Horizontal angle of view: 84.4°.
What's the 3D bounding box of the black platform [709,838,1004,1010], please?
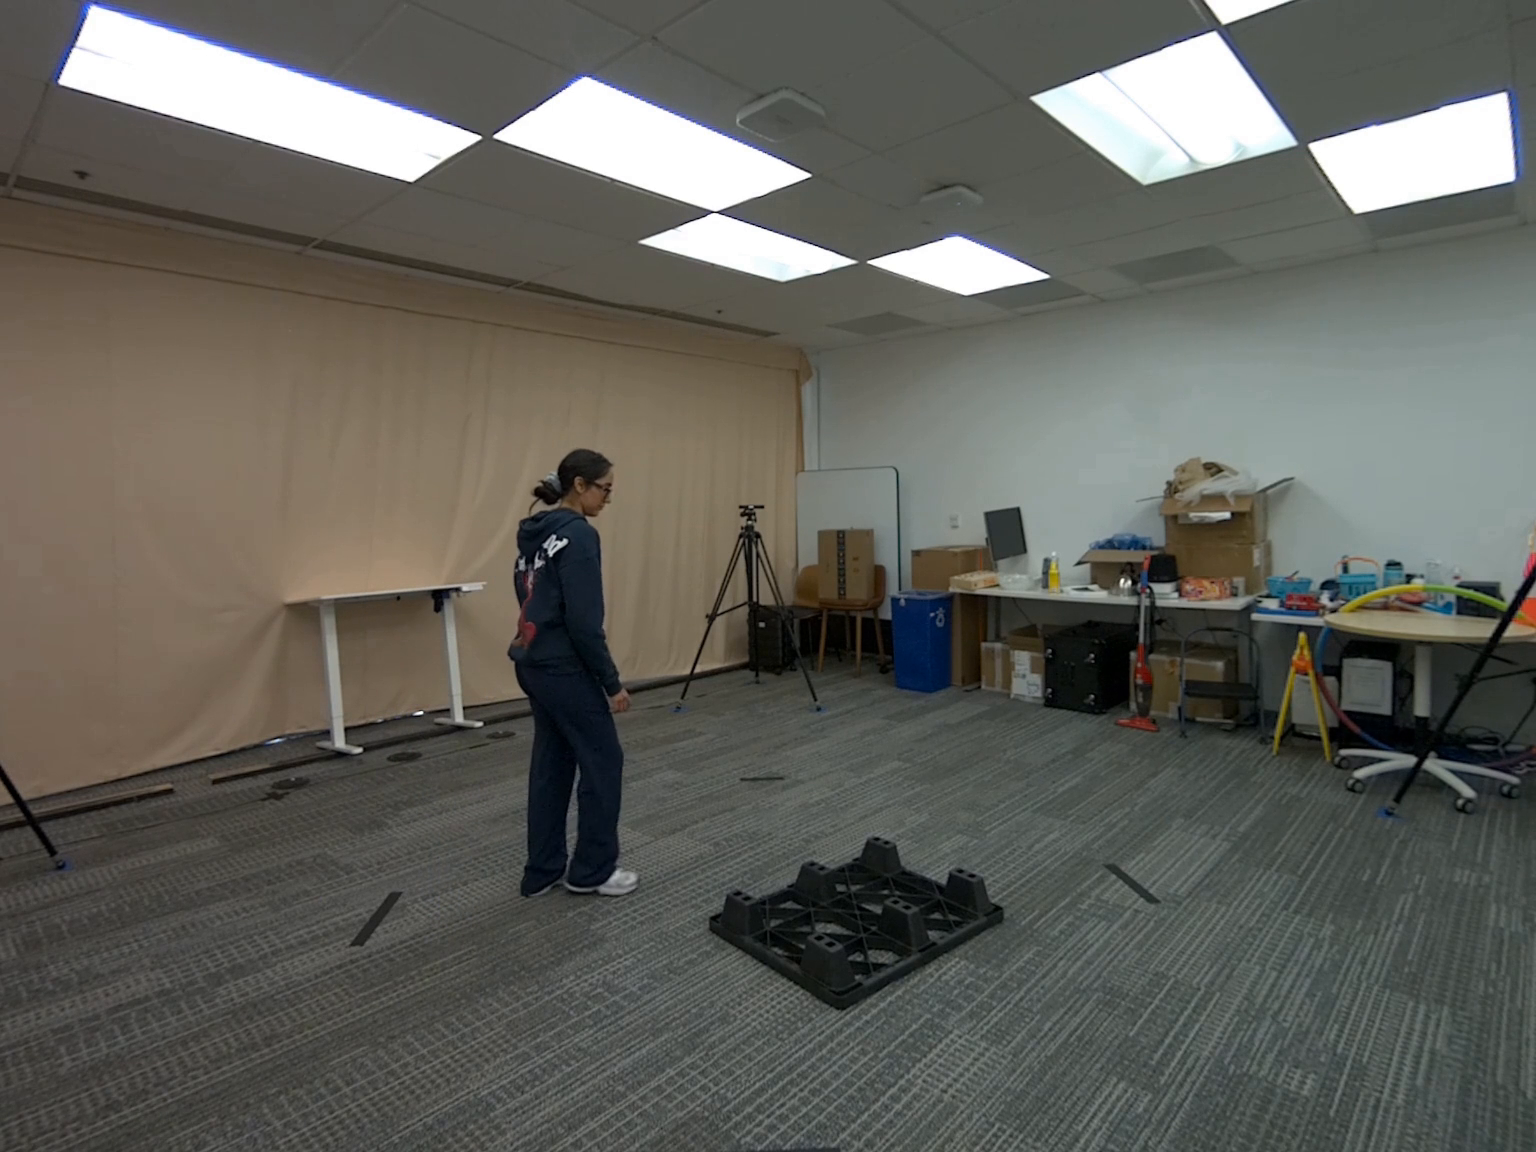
[{"bbox_3d":[0.294,1.081,2.785,0.781,0.143,0.625,-5,7,-40],"label":"black platform"}]
